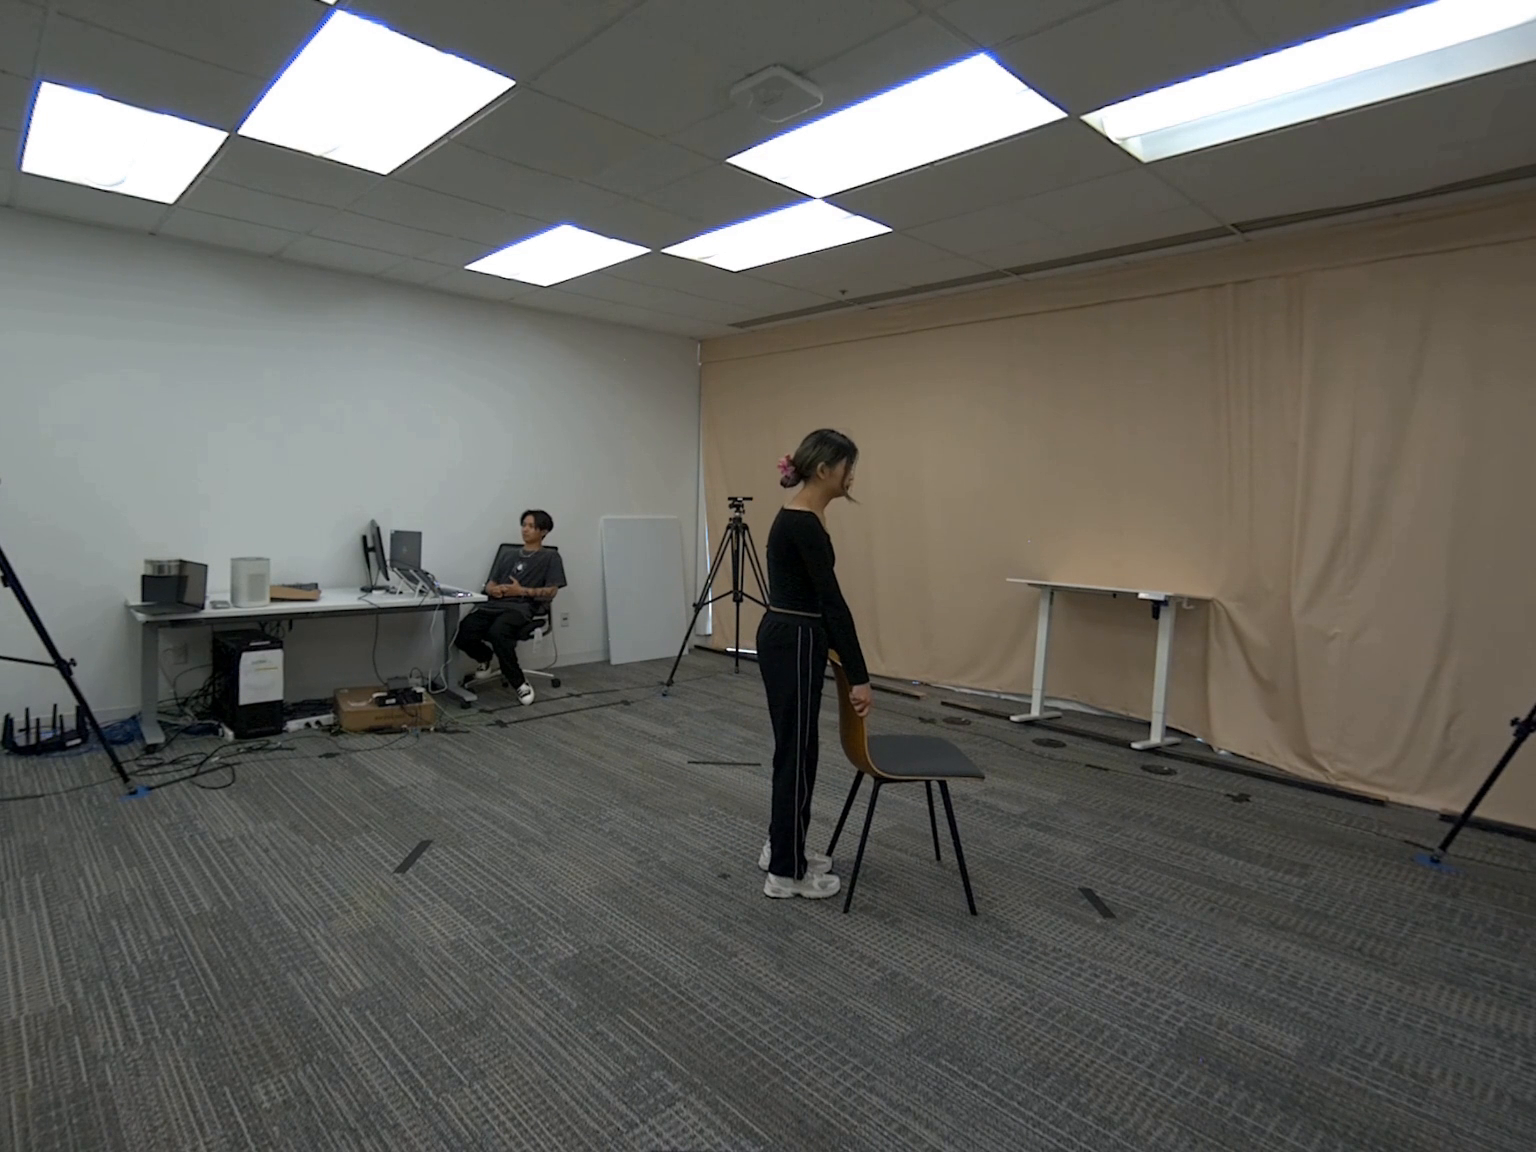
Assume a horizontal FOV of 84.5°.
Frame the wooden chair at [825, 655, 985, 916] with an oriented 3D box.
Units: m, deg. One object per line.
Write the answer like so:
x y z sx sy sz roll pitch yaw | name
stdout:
0.482 0.701 3.043 0.522 0.876 0.480 -2 2 -2 | wooden chair
